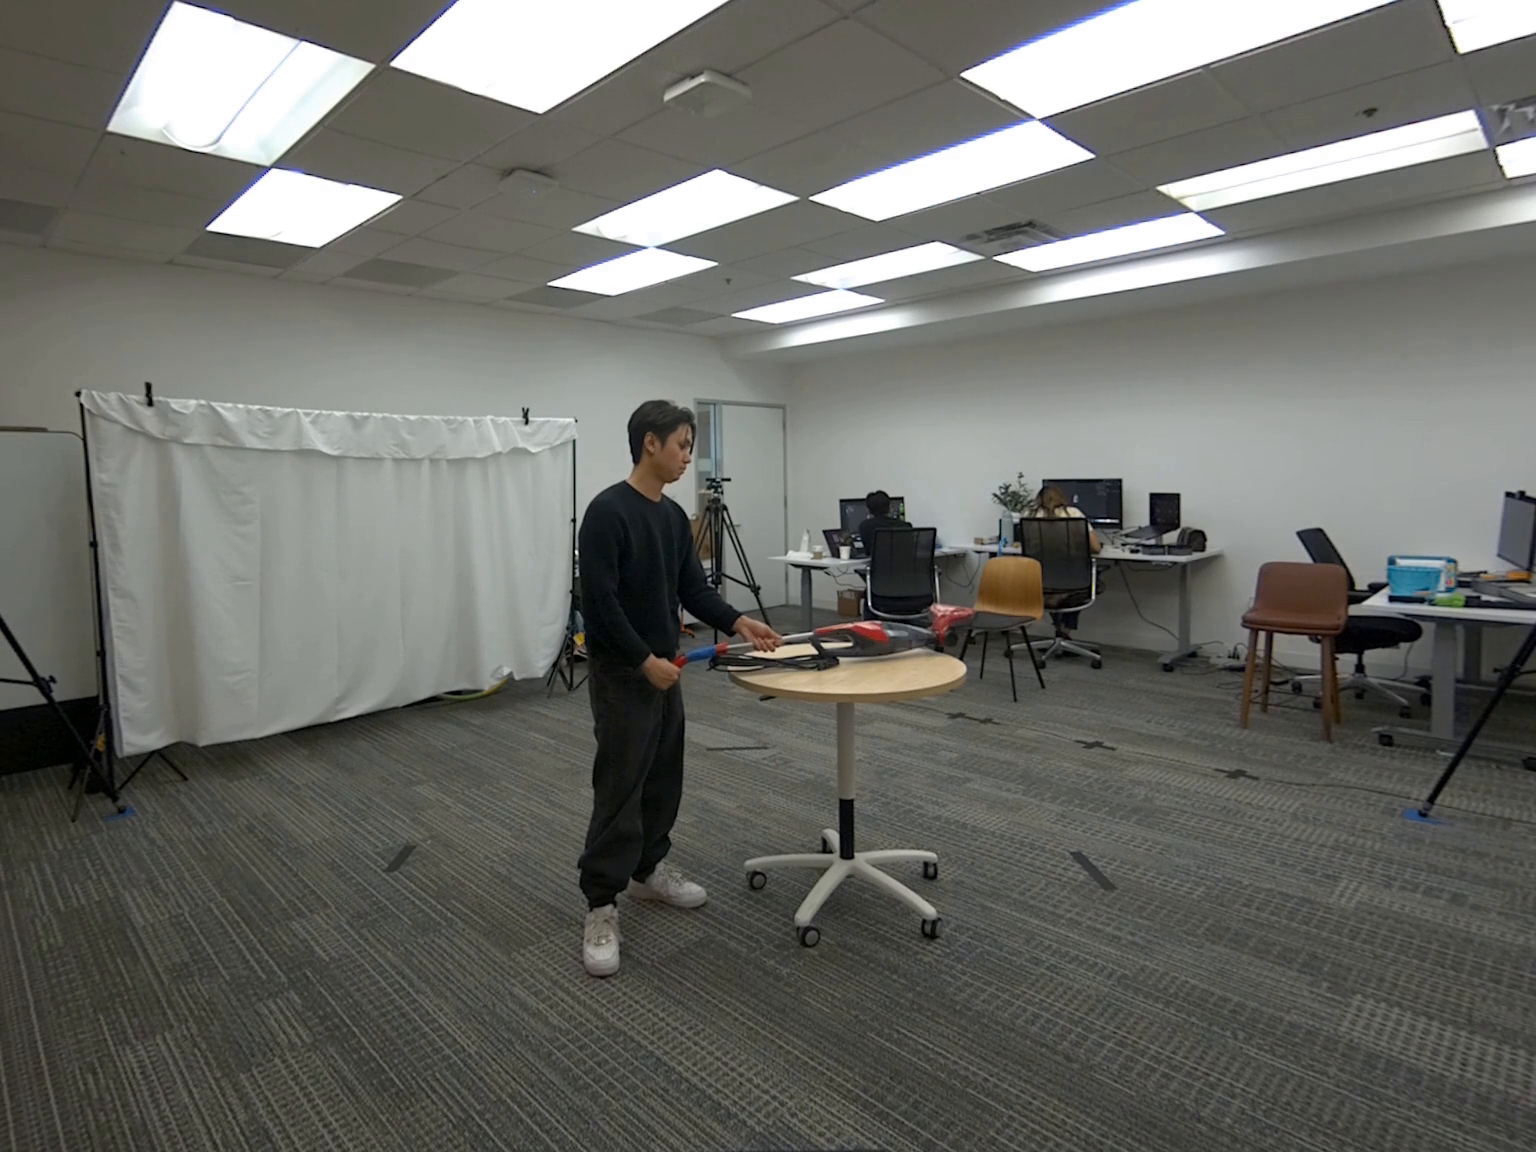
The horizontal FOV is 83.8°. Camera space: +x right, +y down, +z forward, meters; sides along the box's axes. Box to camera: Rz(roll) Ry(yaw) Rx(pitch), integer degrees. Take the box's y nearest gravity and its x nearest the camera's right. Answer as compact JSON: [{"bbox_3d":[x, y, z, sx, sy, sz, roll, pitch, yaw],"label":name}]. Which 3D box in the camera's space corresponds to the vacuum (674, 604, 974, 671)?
[{"bbox_3d":[0.157,0.244,2.778,1.032,0.144,0.257,-8,2,-20],"label":"vacuum"}]
